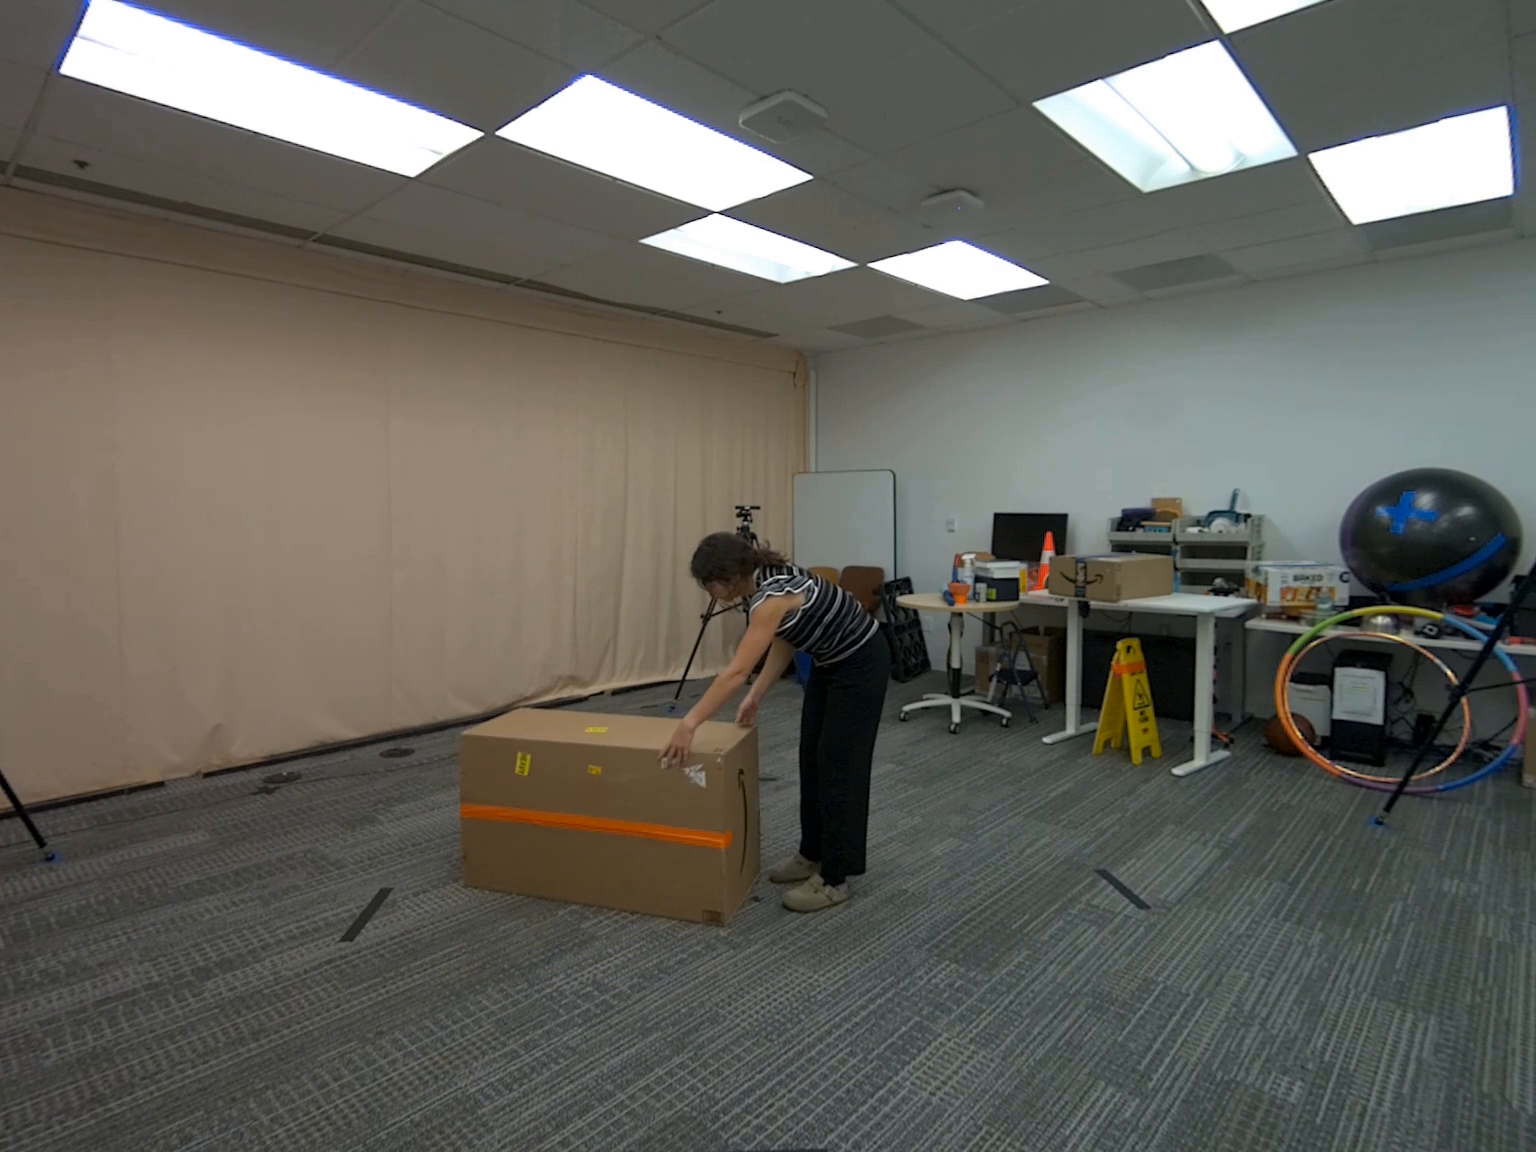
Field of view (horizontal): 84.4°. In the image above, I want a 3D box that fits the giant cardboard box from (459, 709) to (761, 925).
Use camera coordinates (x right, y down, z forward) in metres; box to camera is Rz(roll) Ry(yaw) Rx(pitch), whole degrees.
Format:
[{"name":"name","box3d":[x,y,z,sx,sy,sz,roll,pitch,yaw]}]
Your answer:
[{"name":"giant cardboard box","box3d":[-0.576,0.847,3.121,1.046,0.576,0.419,1,3,18]}]
